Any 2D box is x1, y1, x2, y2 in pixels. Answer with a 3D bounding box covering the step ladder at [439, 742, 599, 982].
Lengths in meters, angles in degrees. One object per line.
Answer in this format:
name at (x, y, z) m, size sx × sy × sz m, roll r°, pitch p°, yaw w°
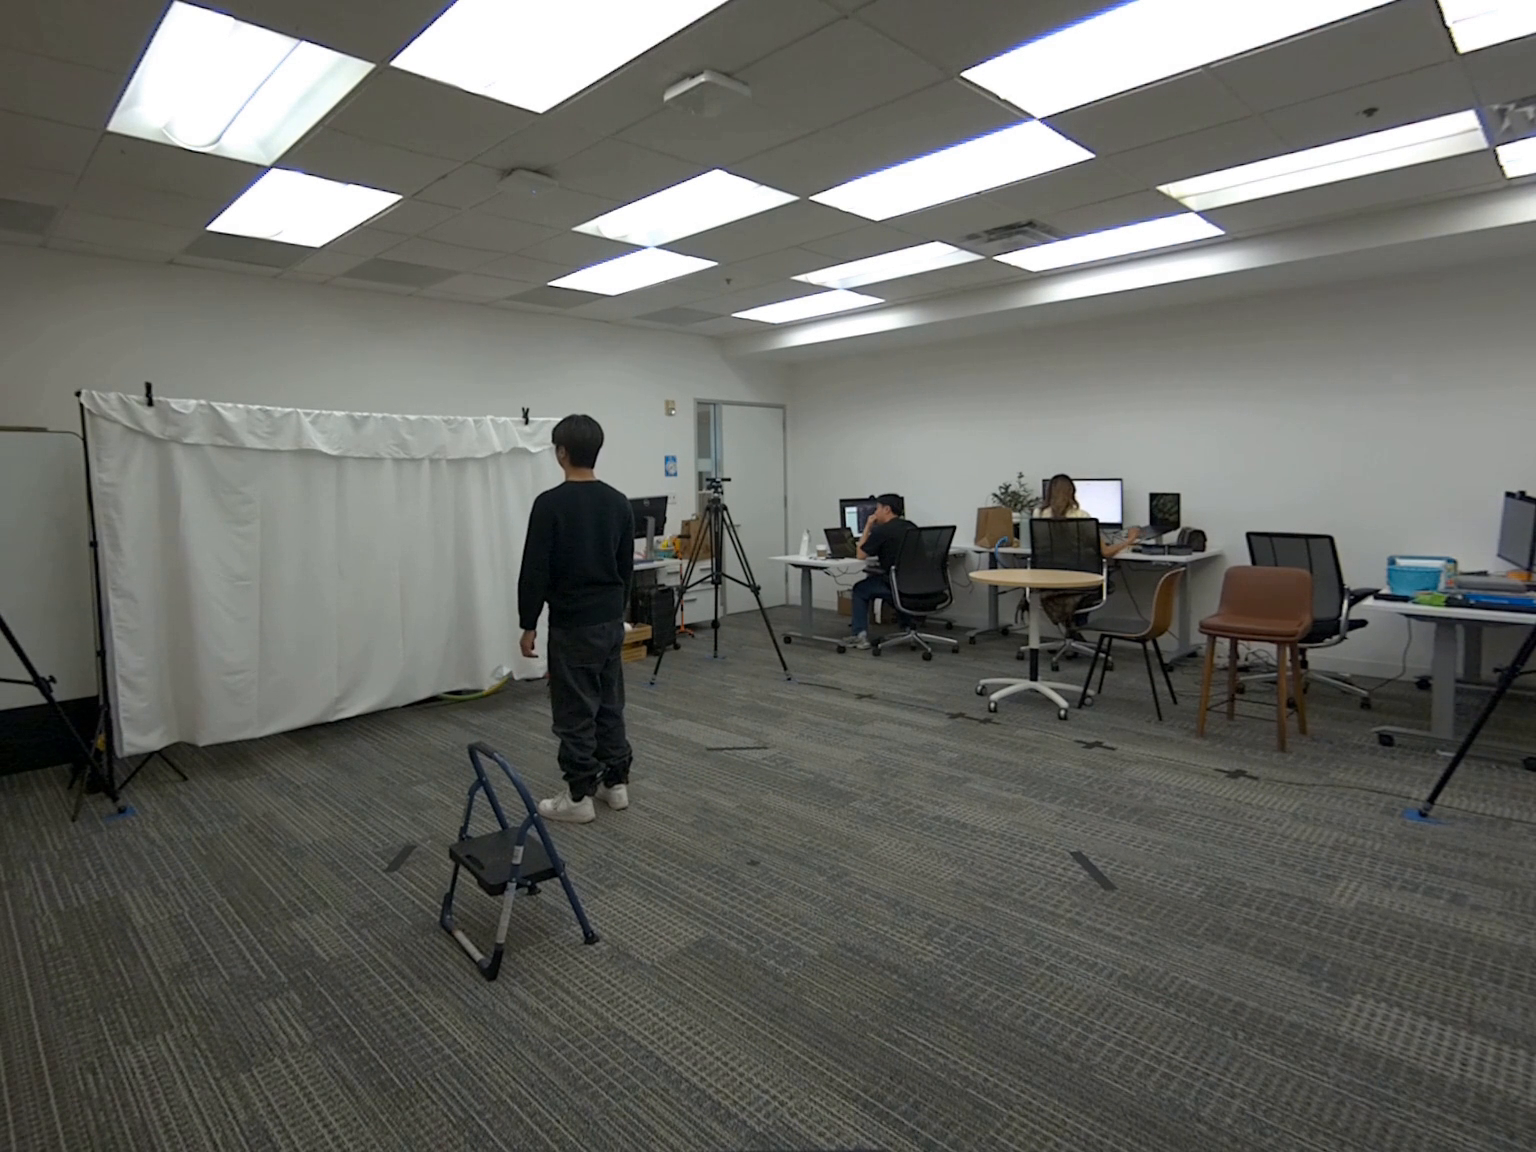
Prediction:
step ladder at (-0.786, 0.809, 2.644) m, size 0.340 × 0.604 × 0.444 m, roll -5°, pitch 6°, yaw -39°
